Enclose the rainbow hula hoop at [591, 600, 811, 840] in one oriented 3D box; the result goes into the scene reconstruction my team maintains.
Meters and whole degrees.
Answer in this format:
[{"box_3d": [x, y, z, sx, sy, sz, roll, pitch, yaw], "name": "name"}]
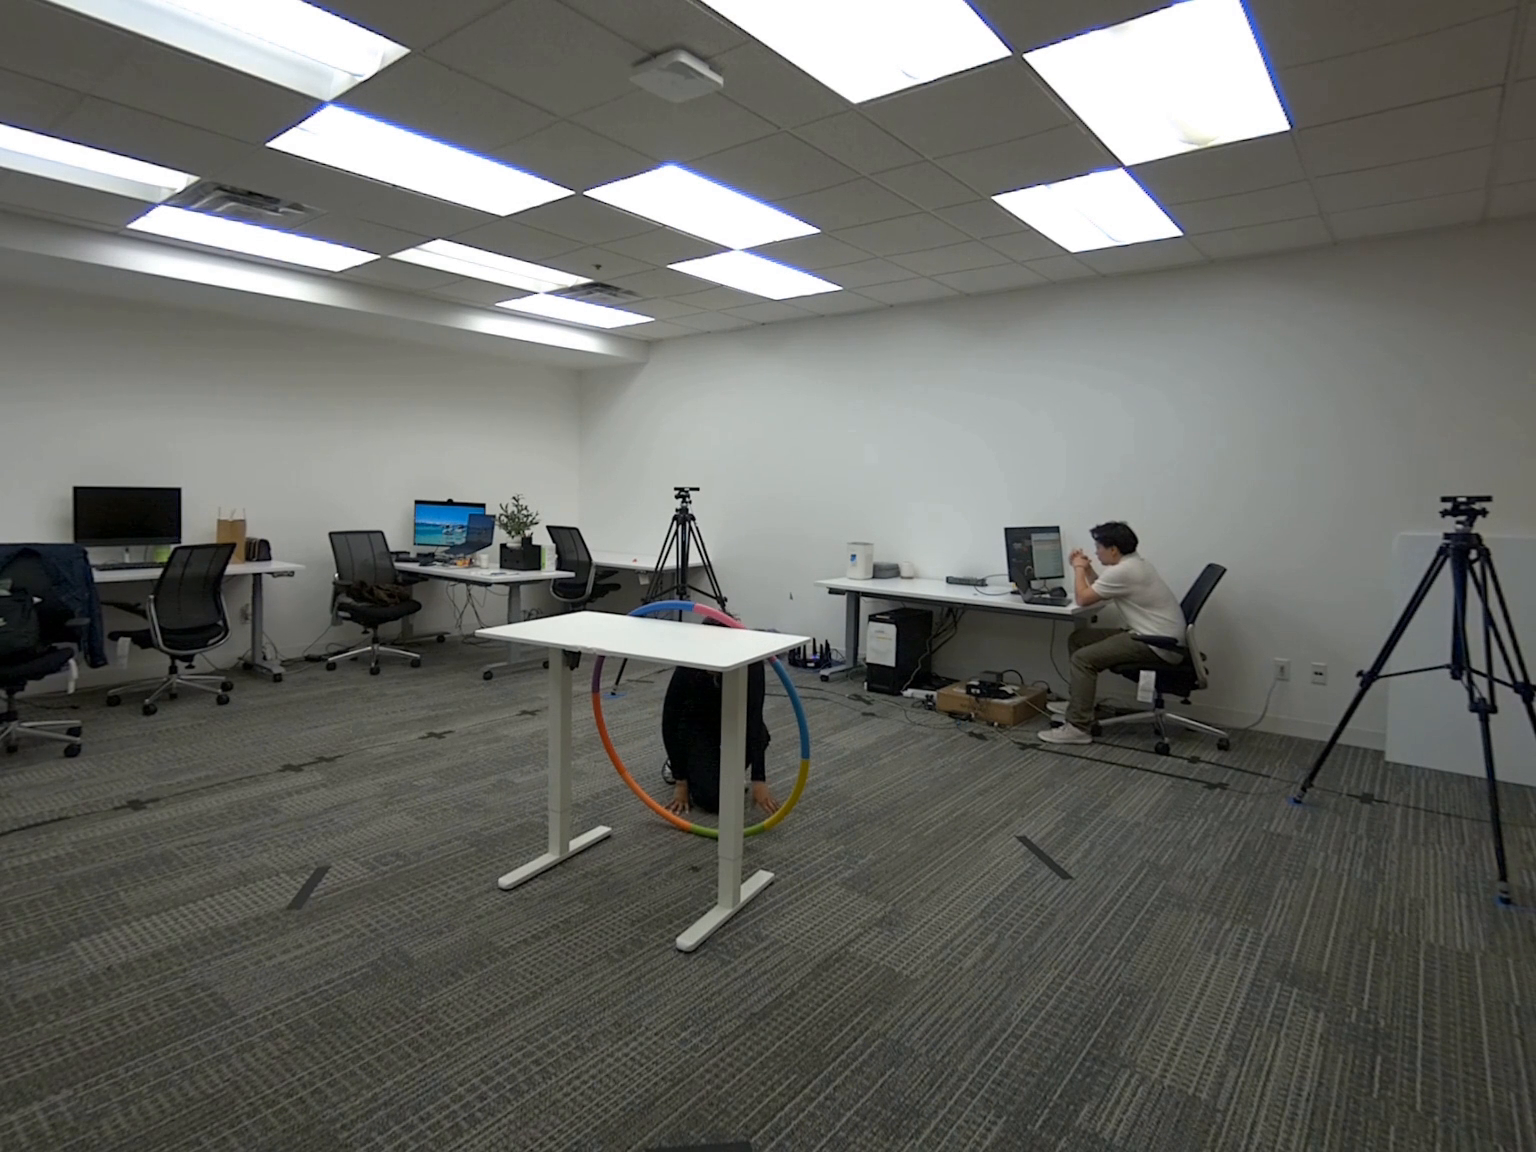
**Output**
[{"box_3d": [-0.298, 0.564, 3.311, 1.007, 0.965, 0.035, 3, 15, 30], "name": "rainbow hula hoop"}]
